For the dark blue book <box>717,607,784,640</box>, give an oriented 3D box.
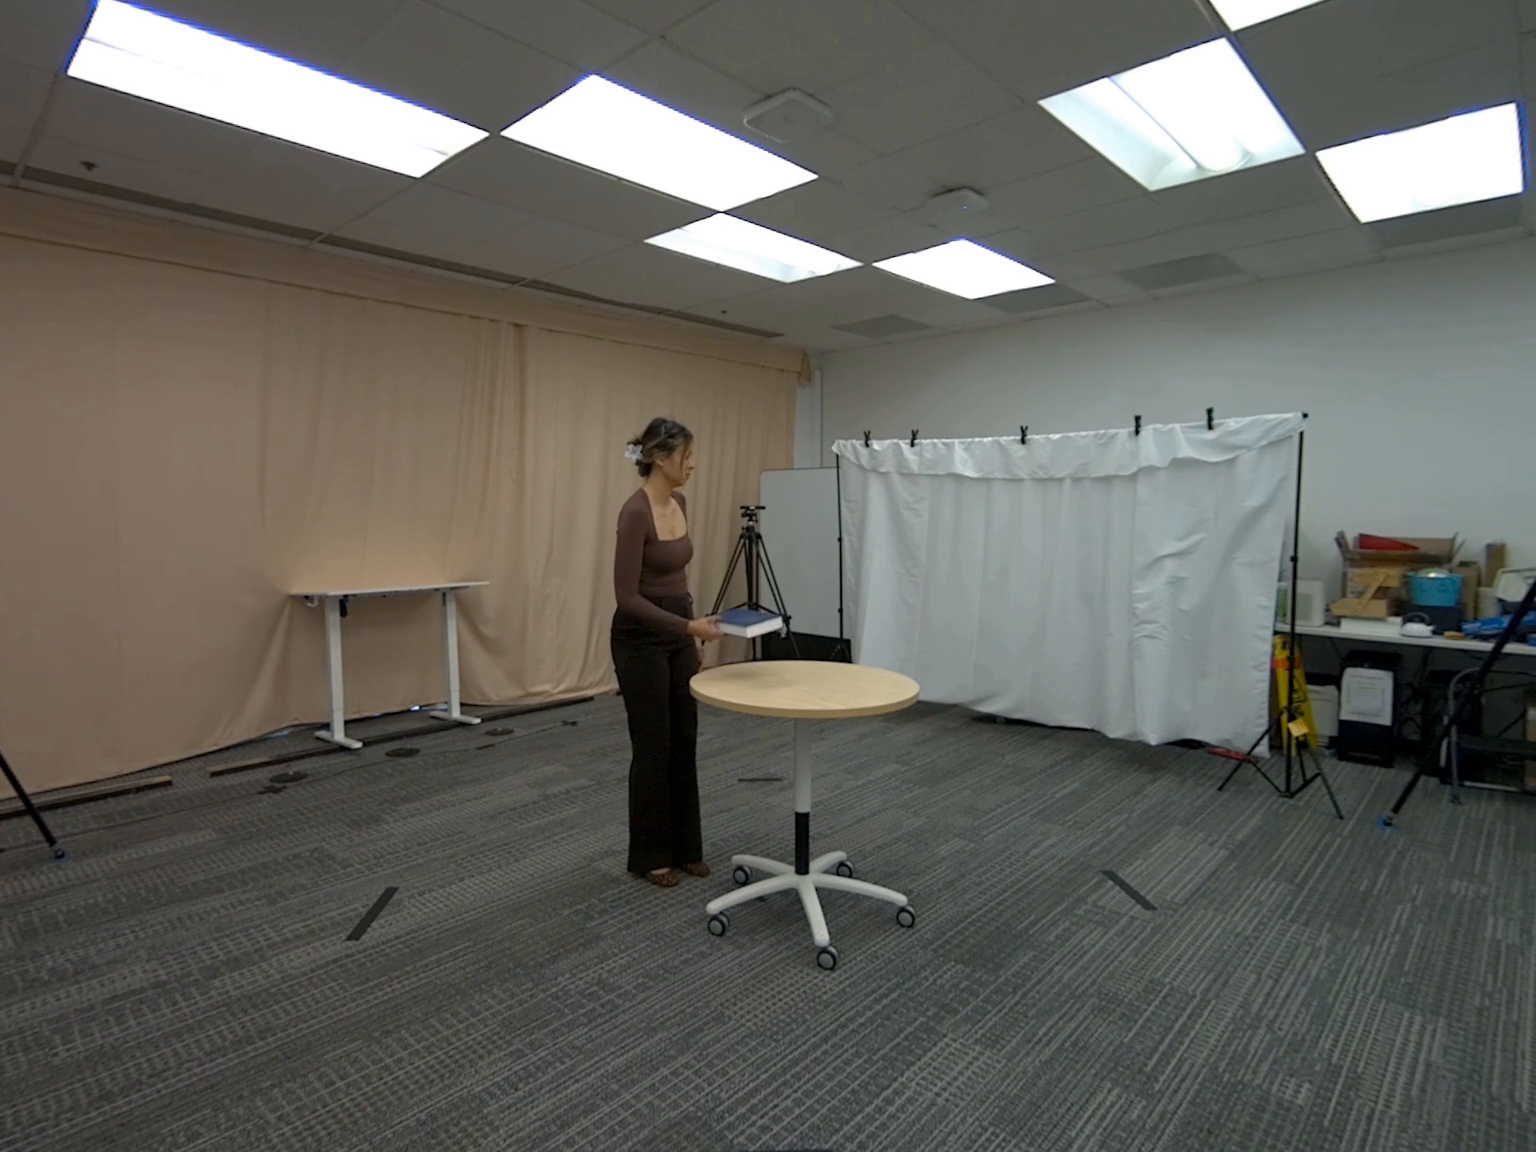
[{"bbox_3d":[-0.081,0.160,2.900,0.159,0.045,0.253,-14,13,-34],"label":"dark blue book"}]
